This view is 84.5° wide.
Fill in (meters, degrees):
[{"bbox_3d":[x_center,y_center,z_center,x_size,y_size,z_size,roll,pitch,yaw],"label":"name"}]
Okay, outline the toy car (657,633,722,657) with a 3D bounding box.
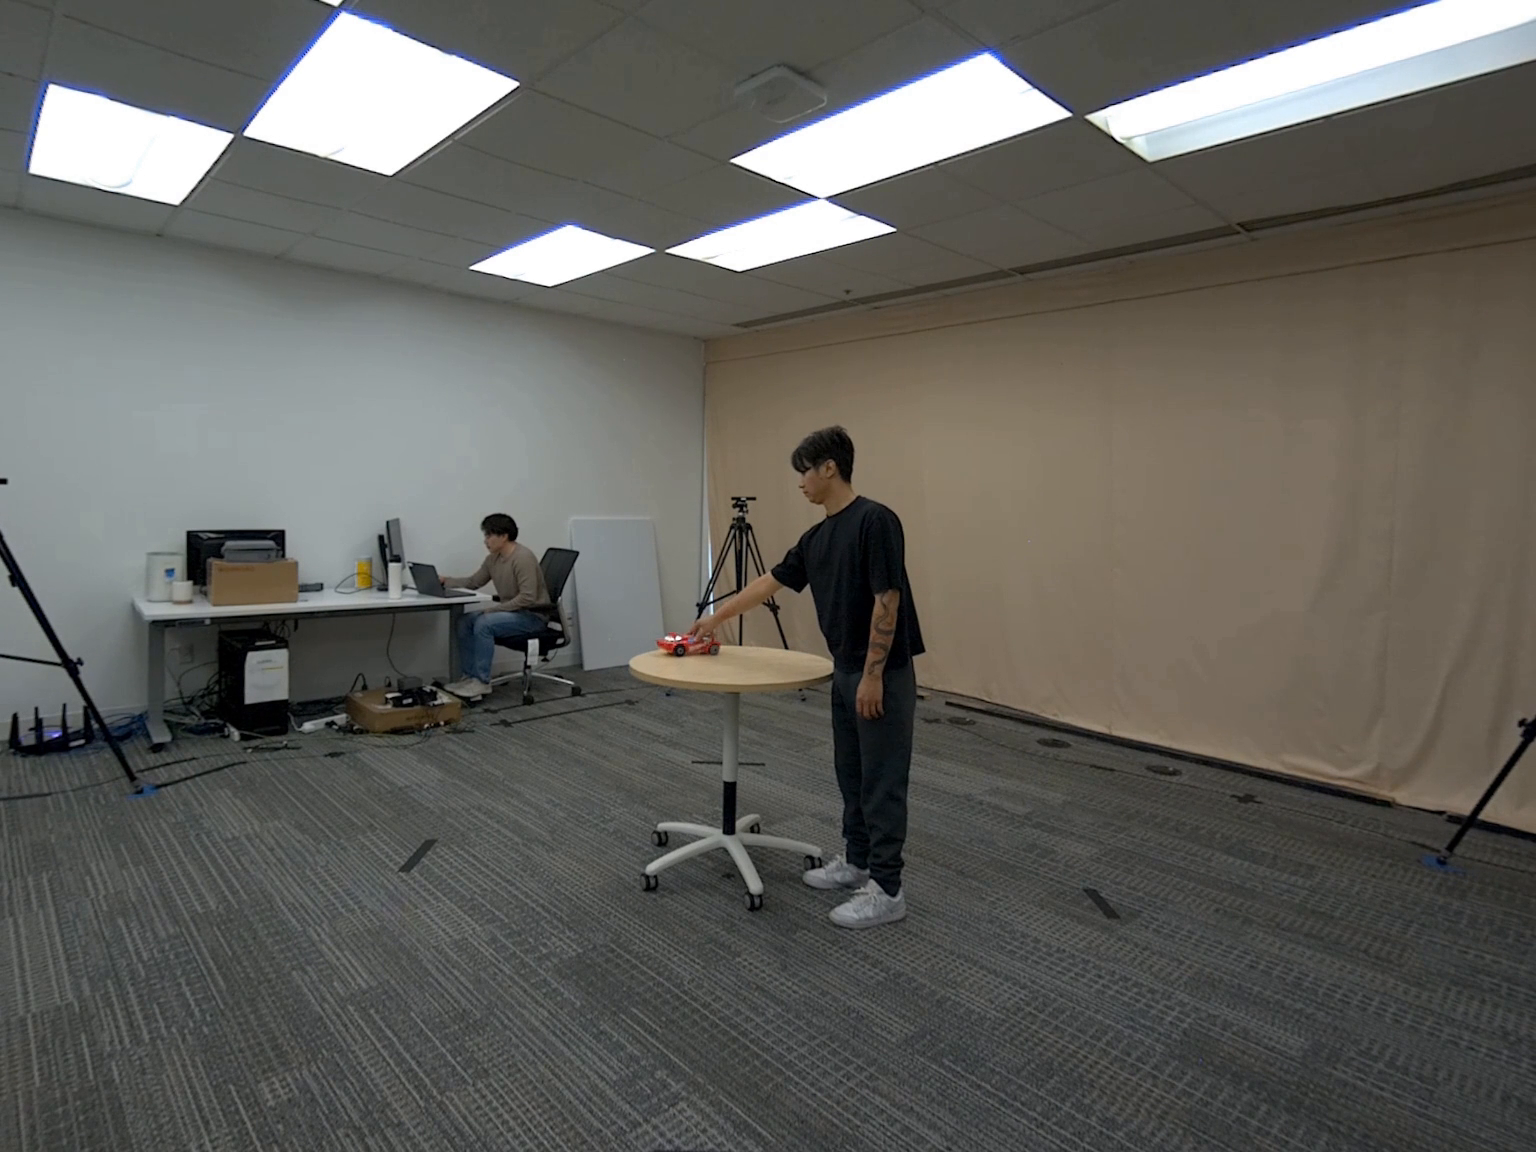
[{"bbox_3d":[-0.328,0.276,3.283,0.249,0.083,0.133,13,-3,-25],"label":"toy car"}]
